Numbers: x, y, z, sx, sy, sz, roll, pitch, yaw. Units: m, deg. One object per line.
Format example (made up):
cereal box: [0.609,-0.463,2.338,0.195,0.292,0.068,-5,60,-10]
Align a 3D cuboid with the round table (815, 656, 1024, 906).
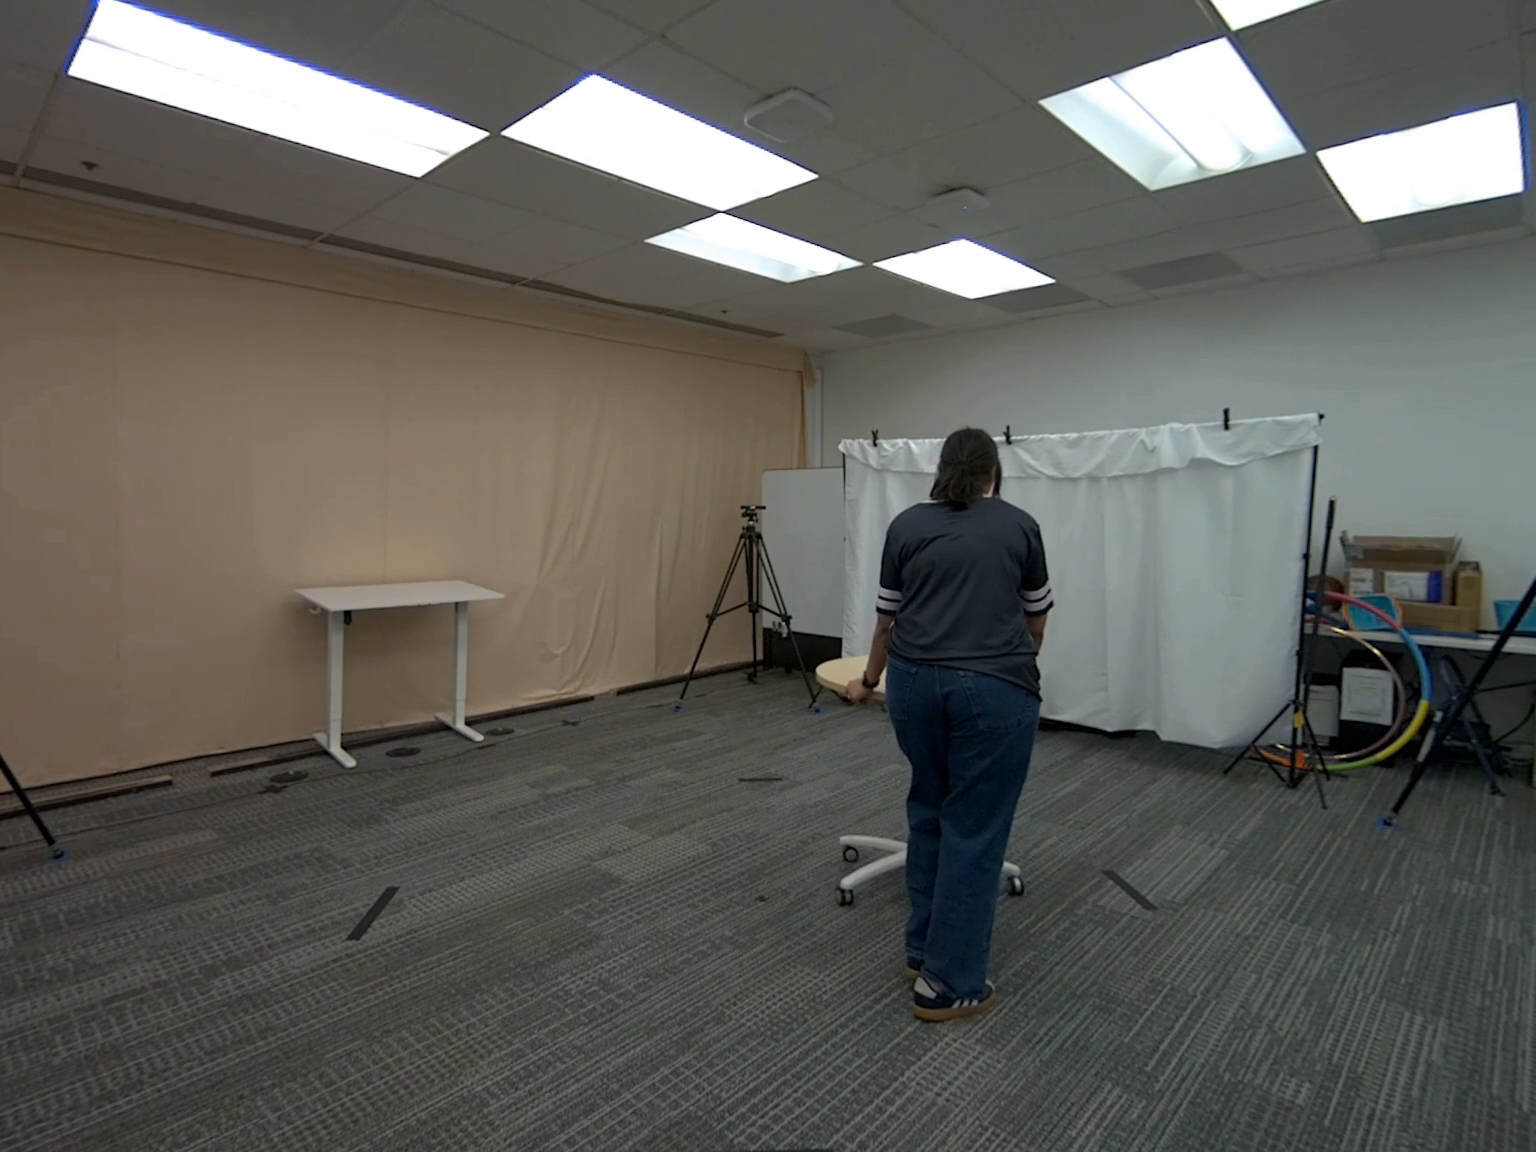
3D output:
round table: [0.546,0.741,3.056,0.784,0.785,0.788,1,4,-2]
